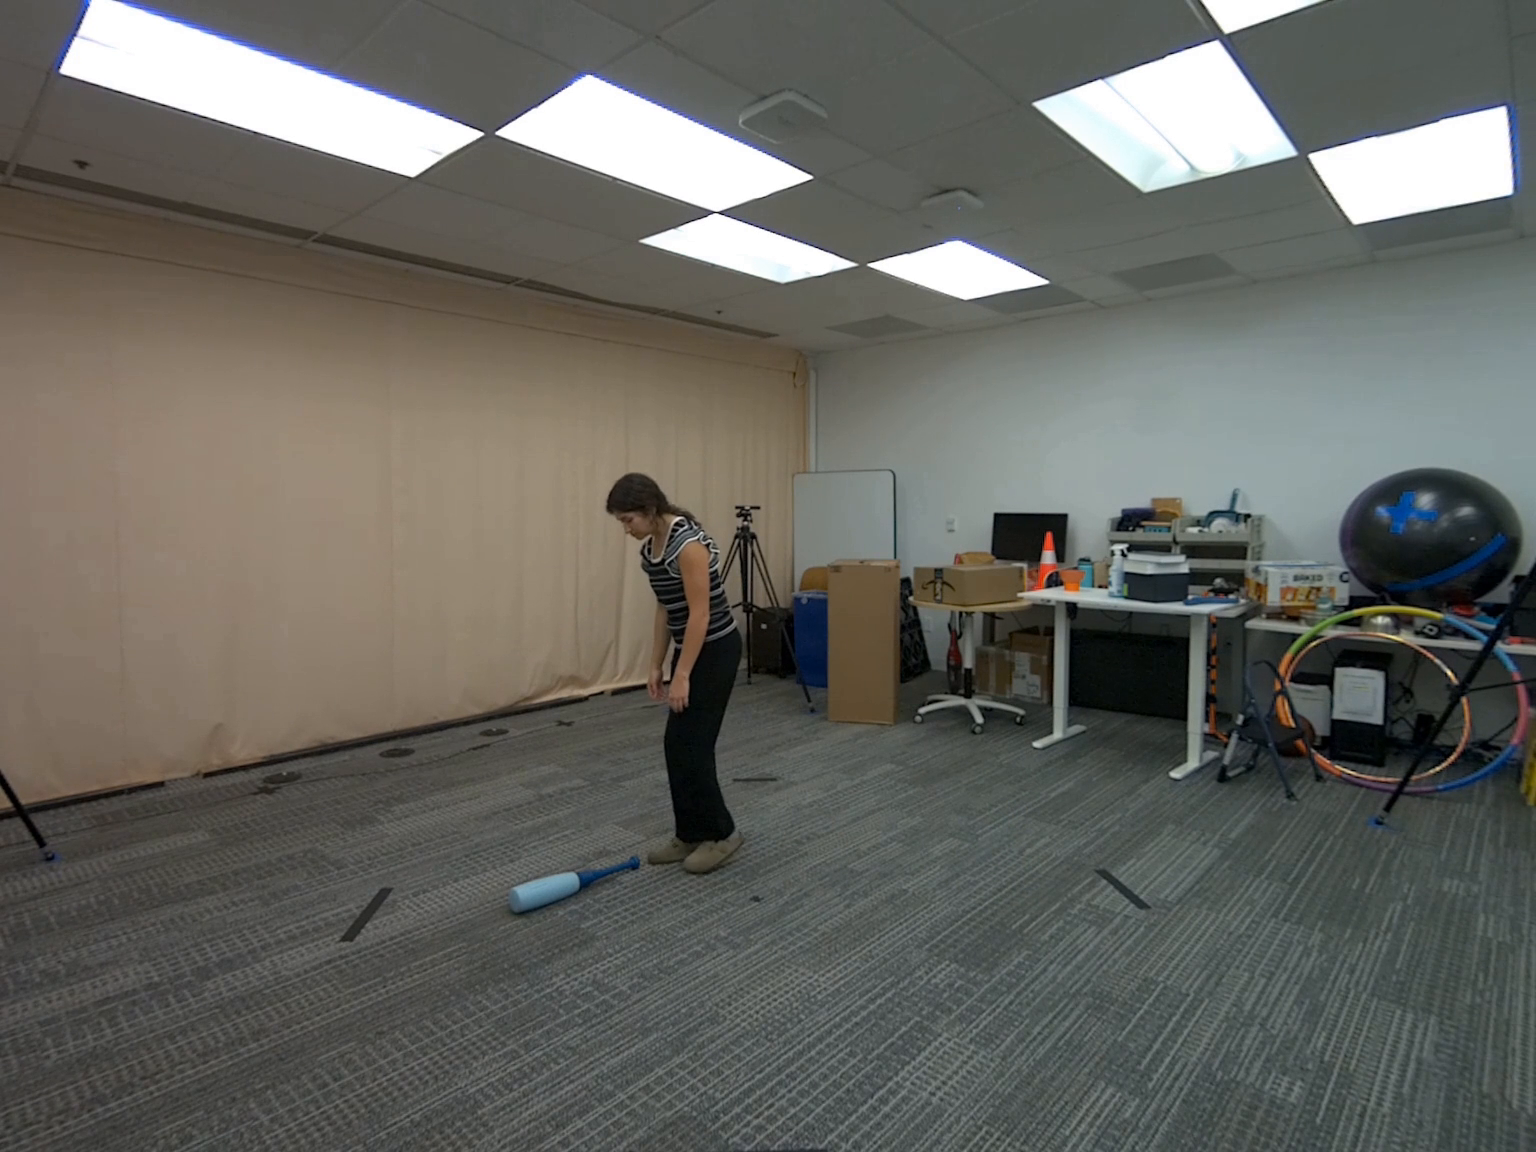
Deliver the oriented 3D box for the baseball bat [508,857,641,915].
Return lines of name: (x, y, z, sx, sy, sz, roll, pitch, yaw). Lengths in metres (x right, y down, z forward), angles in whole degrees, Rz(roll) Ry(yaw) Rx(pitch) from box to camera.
baseball bat: (-0.691, 1.110, 3.059, 0.092, 0.089, 0.525, 4, 2, 44)
